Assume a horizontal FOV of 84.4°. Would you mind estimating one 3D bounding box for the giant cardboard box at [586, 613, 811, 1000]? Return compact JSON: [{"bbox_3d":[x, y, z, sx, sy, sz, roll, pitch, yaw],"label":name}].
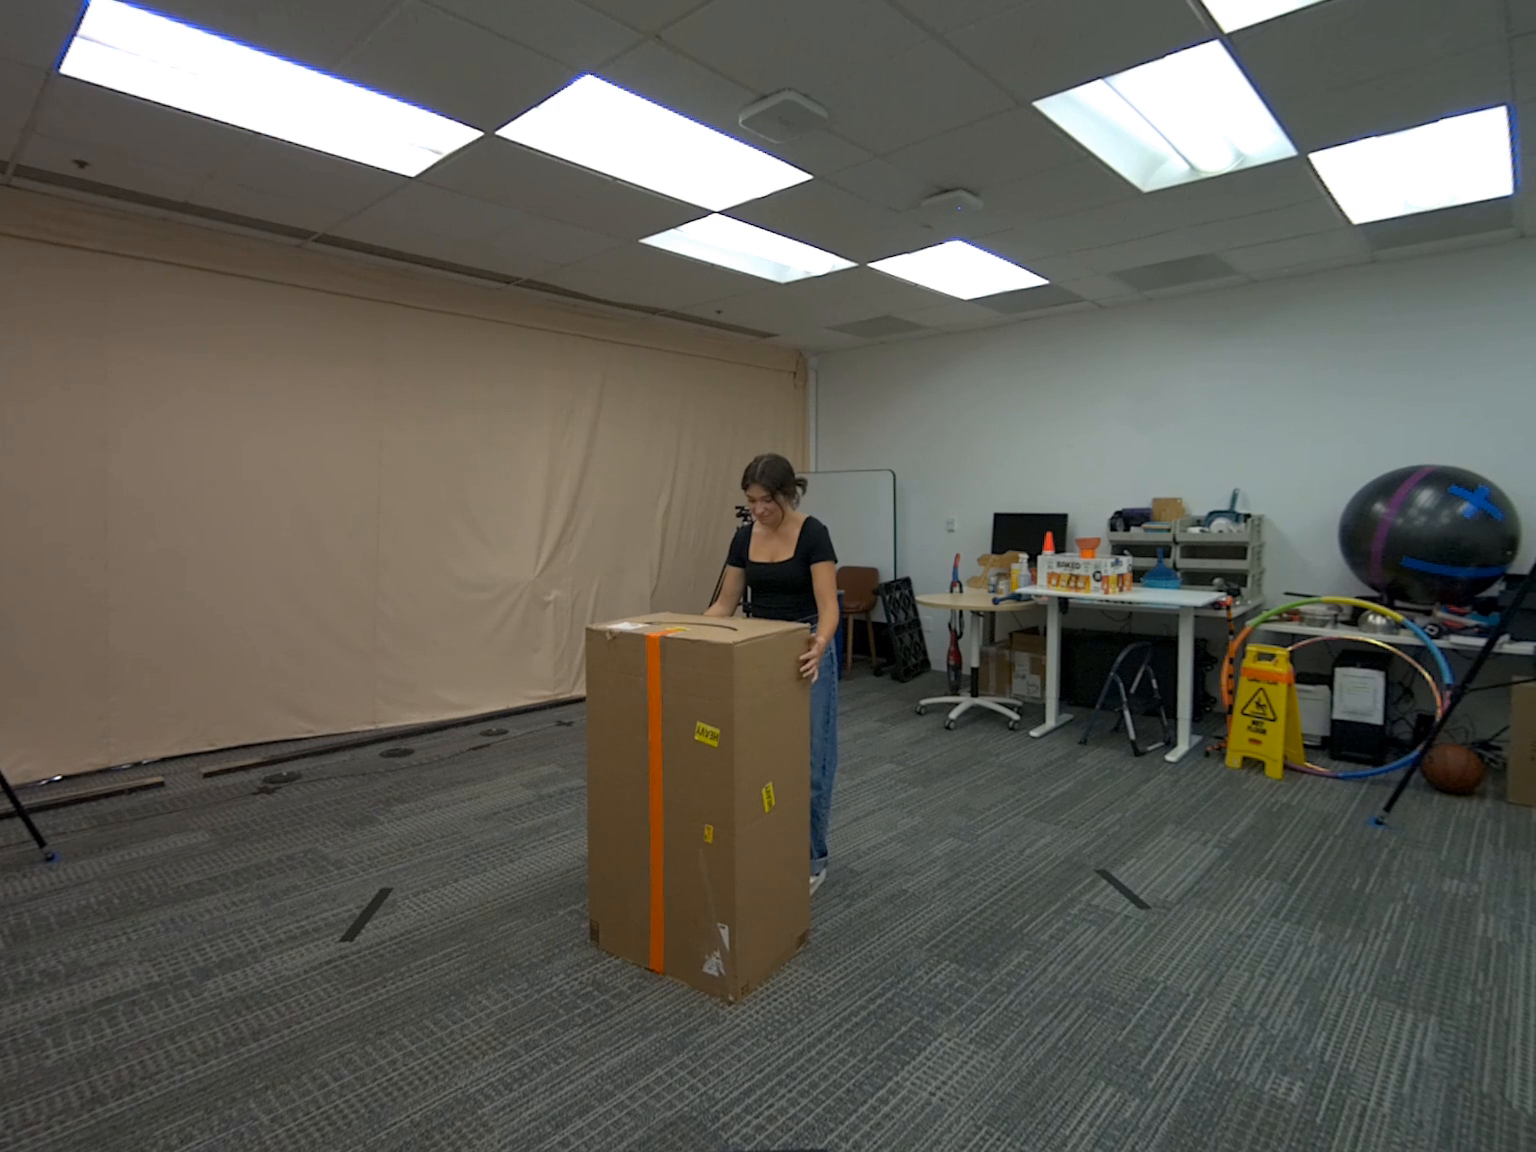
[{"bbox_3d":[-0.226,0.665,2.652,0.595,1.024,0.414,2,4,35],"label":"giant cardboard box"}]
